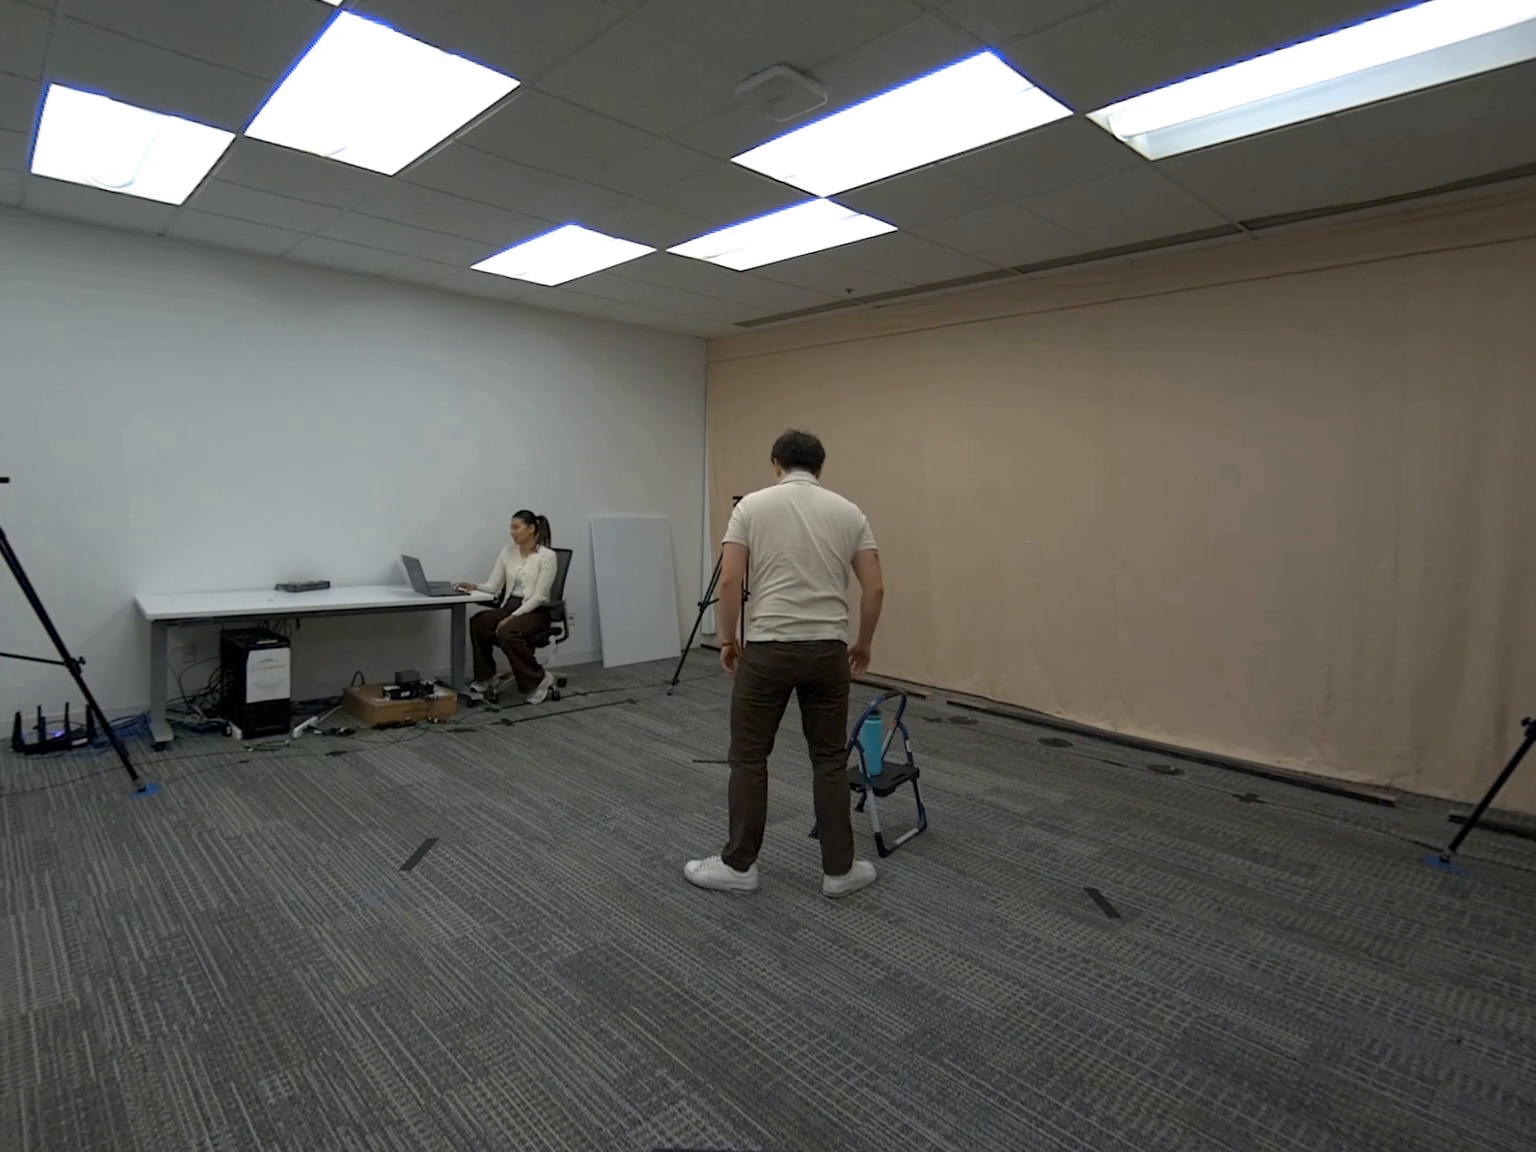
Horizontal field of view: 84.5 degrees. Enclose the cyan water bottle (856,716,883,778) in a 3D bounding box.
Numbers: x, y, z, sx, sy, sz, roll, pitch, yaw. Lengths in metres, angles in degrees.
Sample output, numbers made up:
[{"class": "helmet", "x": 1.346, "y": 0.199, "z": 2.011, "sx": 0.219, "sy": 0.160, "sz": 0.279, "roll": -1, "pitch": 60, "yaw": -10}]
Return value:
[{"class": "cyan water bottle", "x": 0.425, "y": 0.682, "z": 3.515, "sx": 0.092, "sy": 0.284, "sz": 0.092, "roll": 3, "pitch": -3, "yaw": -1}]
